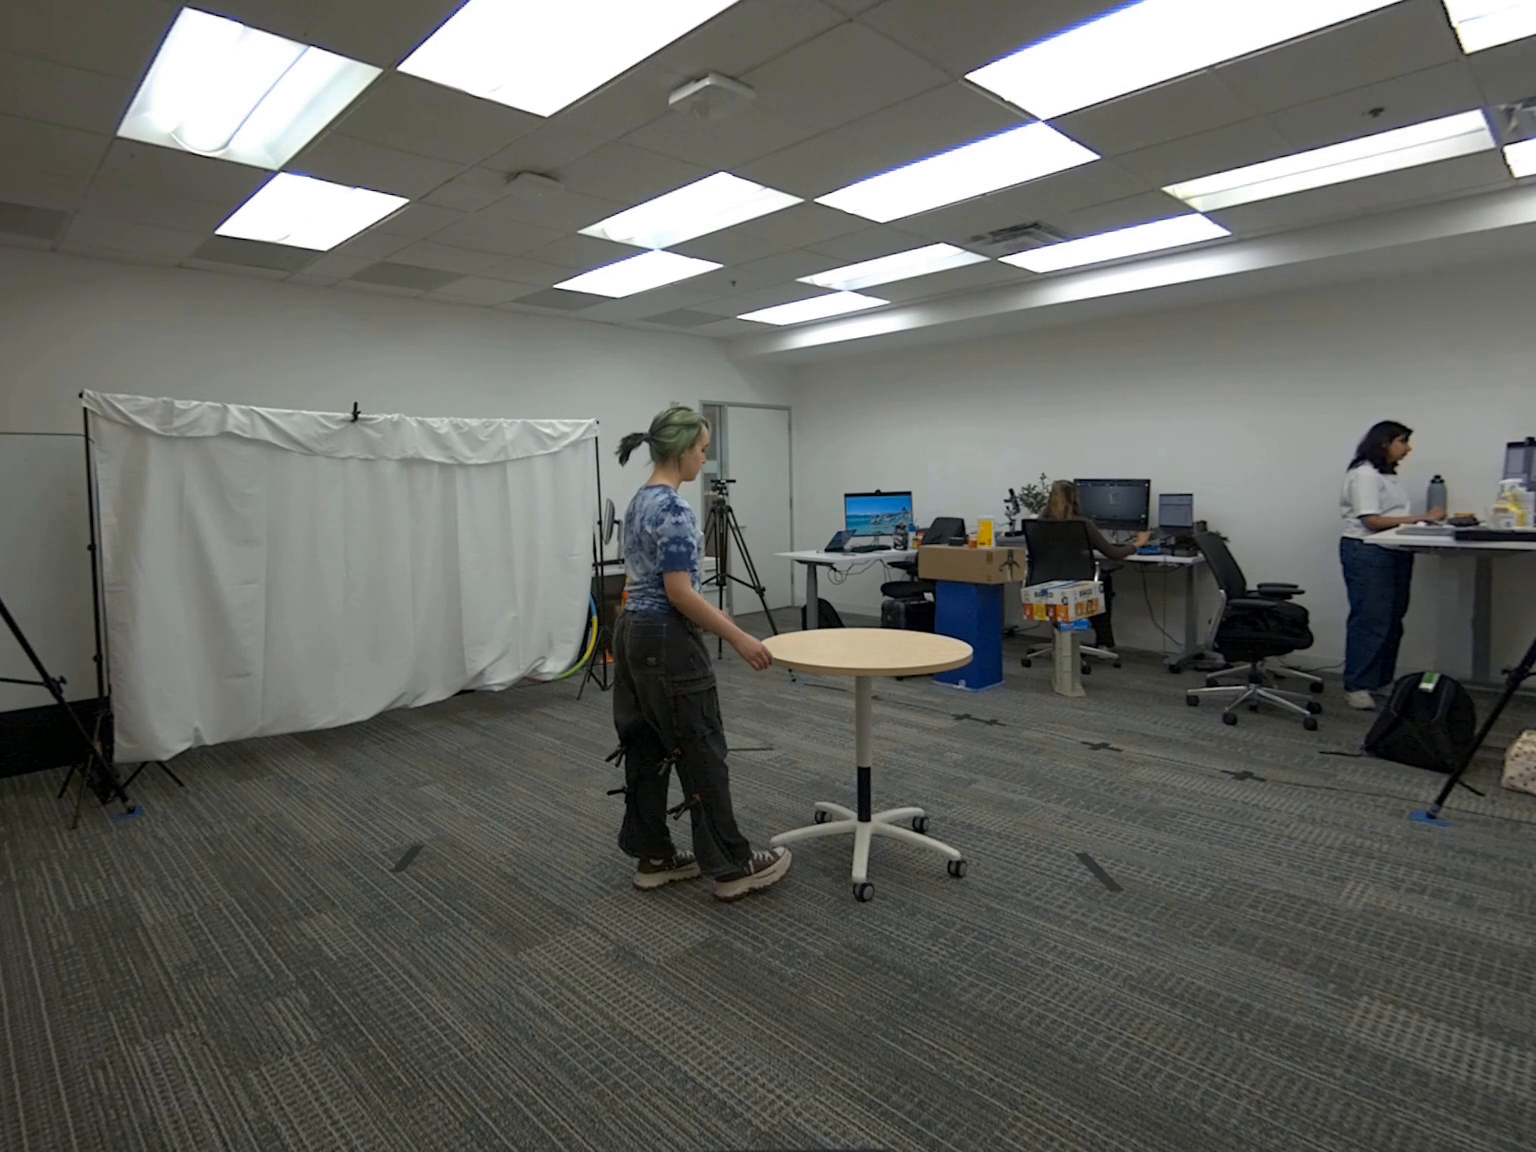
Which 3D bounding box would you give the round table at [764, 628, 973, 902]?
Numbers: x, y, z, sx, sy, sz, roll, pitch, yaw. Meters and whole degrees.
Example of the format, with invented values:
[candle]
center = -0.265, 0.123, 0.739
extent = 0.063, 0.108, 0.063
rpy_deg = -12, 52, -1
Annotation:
[round table]
center = 0.354, 0.648, 3.130
extent = 0.763, 0.791, 0.767
rpy_deg = -1, 4, -2
